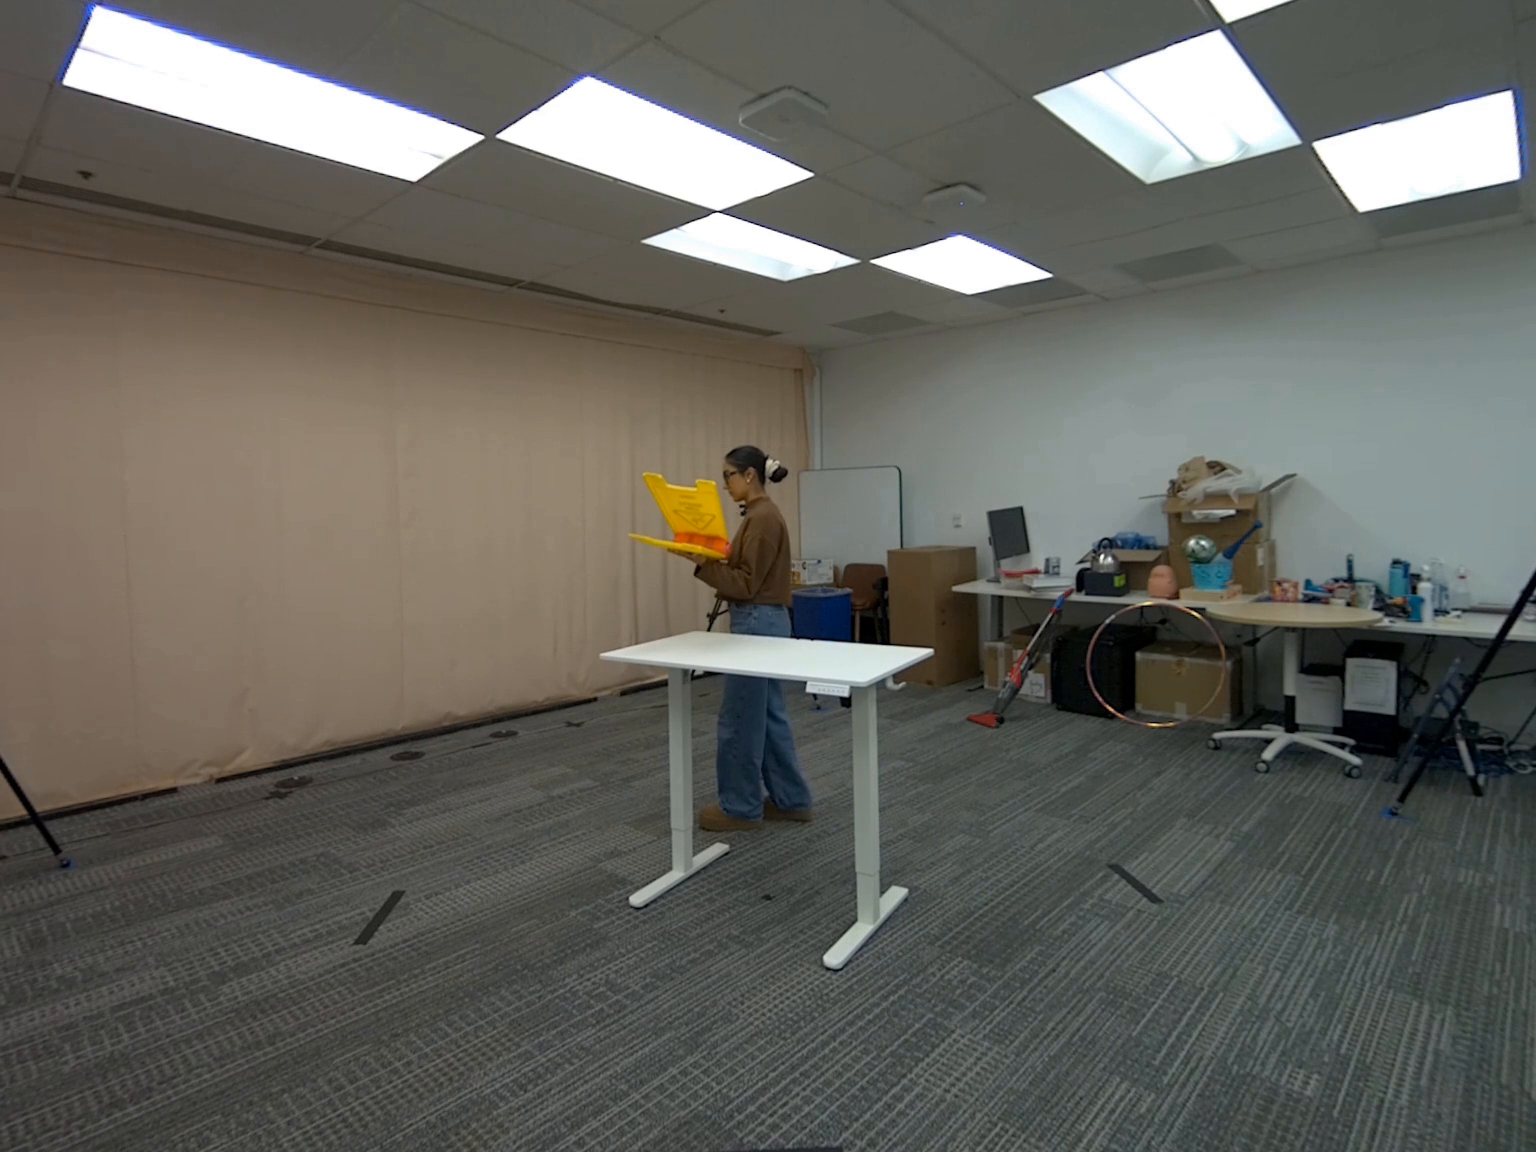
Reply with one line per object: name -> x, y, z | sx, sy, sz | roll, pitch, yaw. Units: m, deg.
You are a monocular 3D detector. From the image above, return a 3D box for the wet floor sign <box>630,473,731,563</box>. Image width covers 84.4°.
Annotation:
wet floor sign -> -0.309, -0.160, 3.326 | 0.286, 0.291, 0.635 | 9, -11, 9
